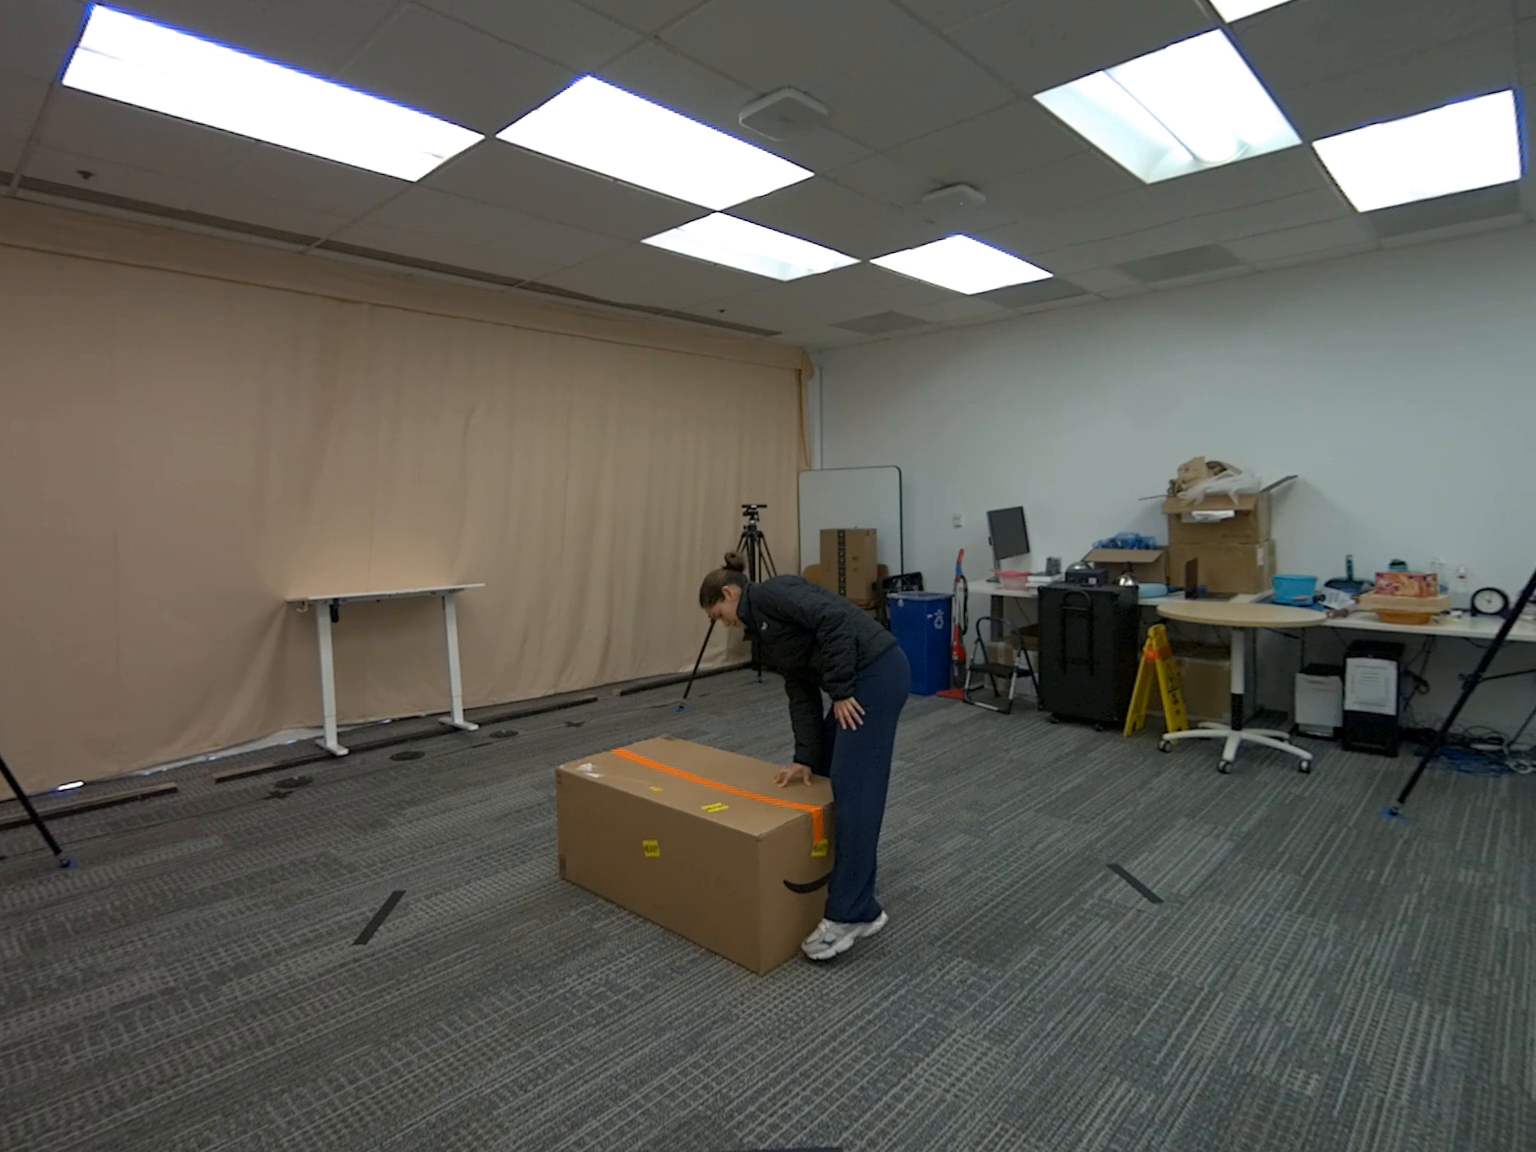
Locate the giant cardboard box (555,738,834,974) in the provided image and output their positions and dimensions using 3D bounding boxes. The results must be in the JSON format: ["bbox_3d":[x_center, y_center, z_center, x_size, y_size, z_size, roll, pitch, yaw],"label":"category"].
[{"bbox_3d":[-0.215,0.933,3.031,1.061,0.446,0.566,2,4,42],"label":"giant cardboard box"}]
